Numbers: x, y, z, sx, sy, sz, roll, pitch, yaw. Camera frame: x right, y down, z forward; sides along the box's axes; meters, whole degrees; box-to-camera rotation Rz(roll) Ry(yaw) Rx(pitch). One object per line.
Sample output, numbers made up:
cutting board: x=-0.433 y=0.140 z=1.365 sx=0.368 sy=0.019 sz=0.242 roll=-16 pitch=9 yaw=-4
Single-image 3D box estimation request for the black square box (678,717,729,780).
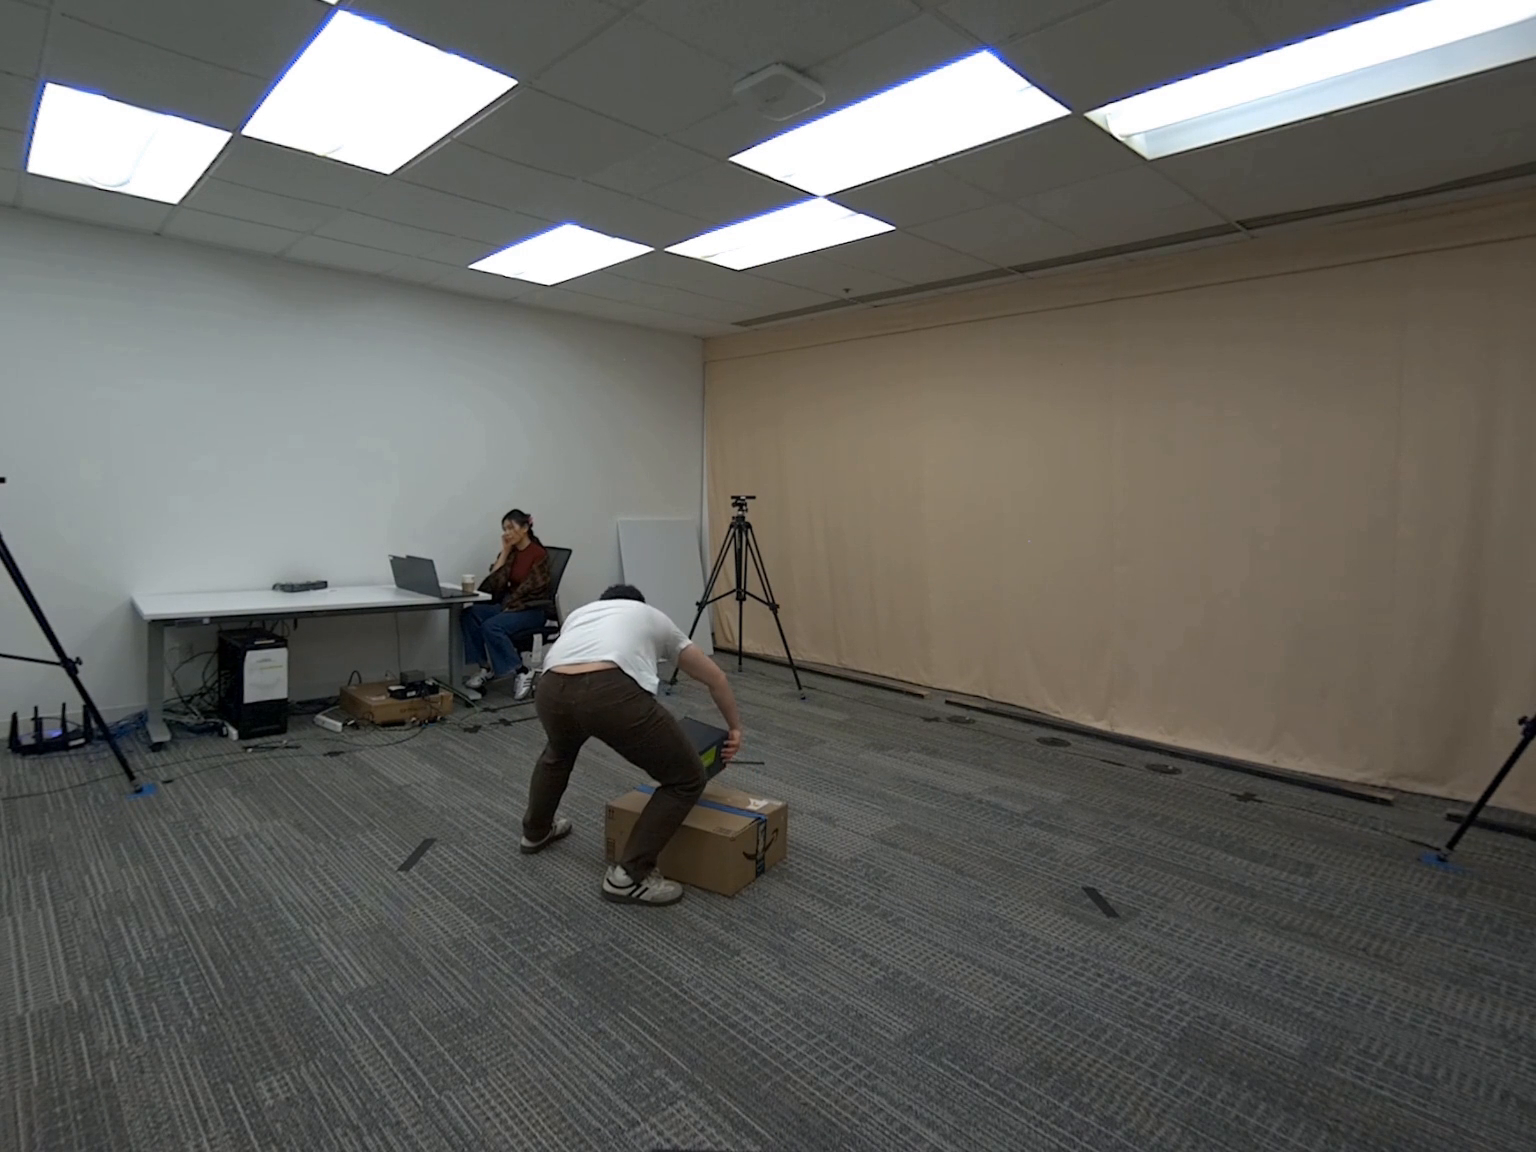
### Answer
black square box: x=-0.310 y=0.682 z=3.284 sx=0.222 sy=0.154 sz=0.225 roll=13 pitch=16 yaw=25
